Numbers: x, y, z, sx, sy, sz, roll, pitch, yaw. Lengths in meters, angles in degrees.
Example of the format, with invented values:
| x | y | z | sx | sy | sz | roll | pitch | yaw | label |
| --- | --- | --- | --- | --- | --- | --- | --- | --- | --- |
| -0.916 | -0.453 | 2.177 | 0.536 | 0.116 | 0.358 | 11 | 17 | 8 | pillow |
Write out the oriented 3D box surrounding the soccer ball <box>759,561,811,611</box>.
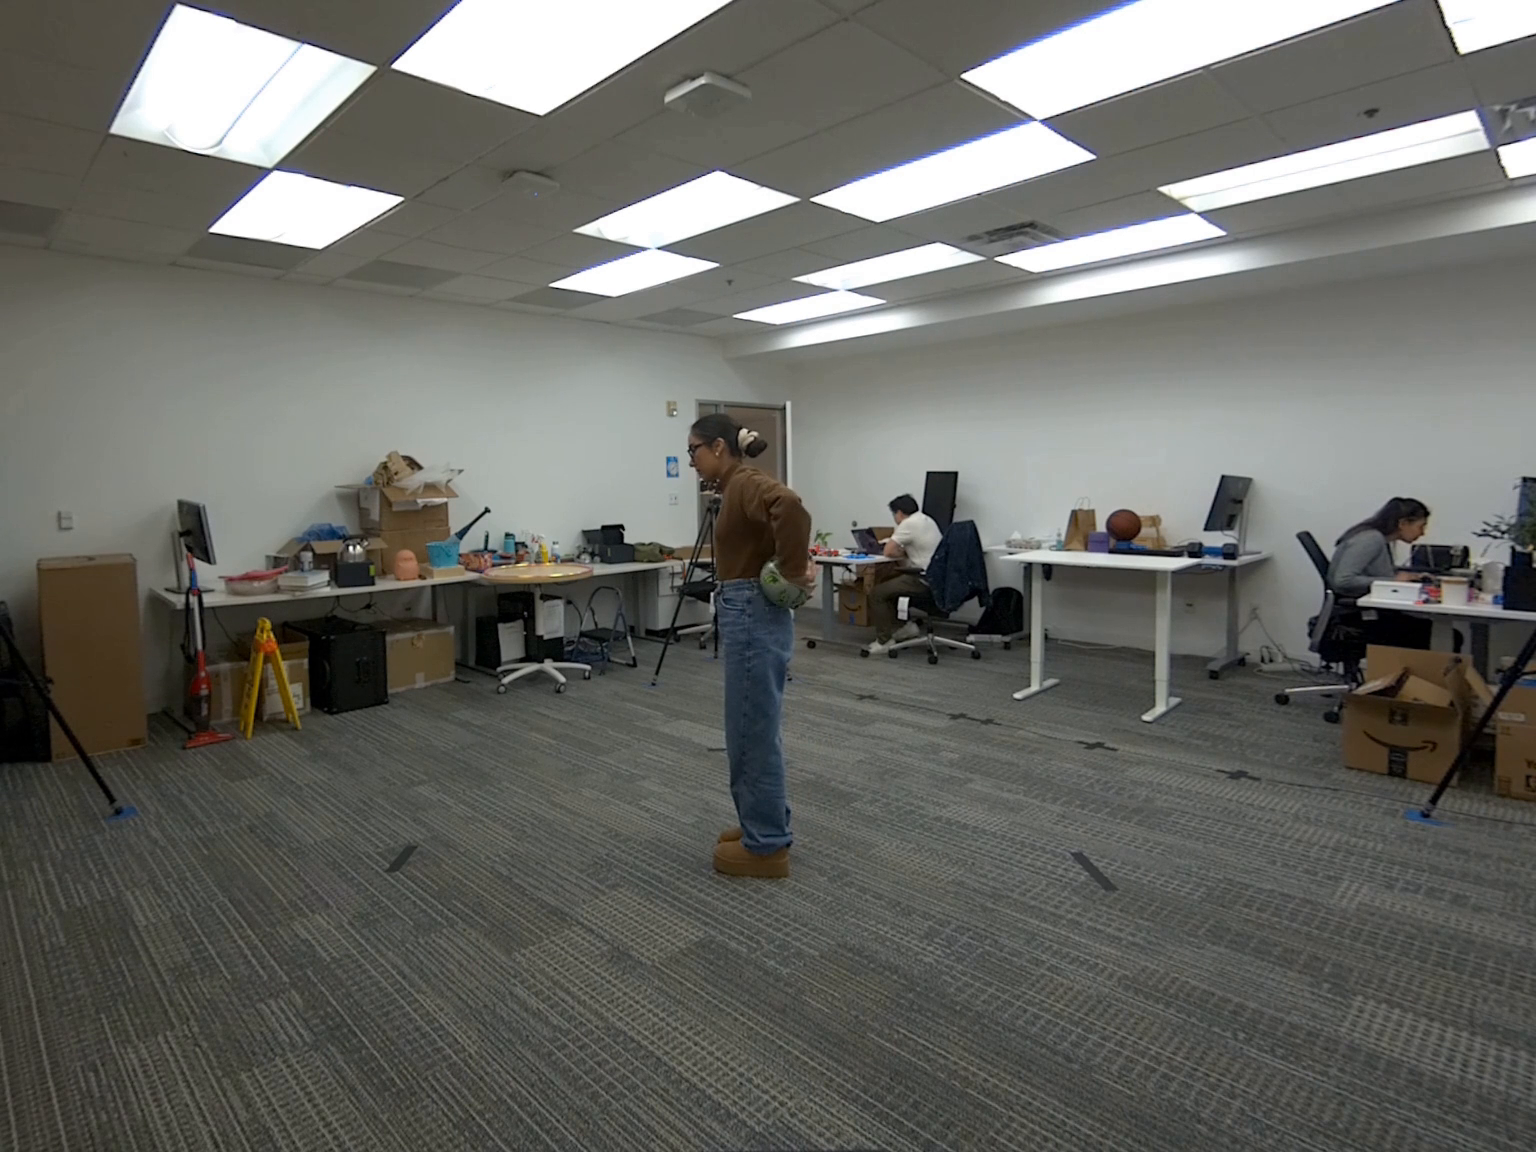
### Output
| x | y | z | sx | sy | sz | roll | pitch | yaw | label |
| --- | --- | --- | --- | --- | --- | --- | --- | --- | --- |
| 0.069 | 0.009 | 2.902 | 0.187 | 0.187 | 0.188 | -1 | 5 | -2 | soccer ball |
